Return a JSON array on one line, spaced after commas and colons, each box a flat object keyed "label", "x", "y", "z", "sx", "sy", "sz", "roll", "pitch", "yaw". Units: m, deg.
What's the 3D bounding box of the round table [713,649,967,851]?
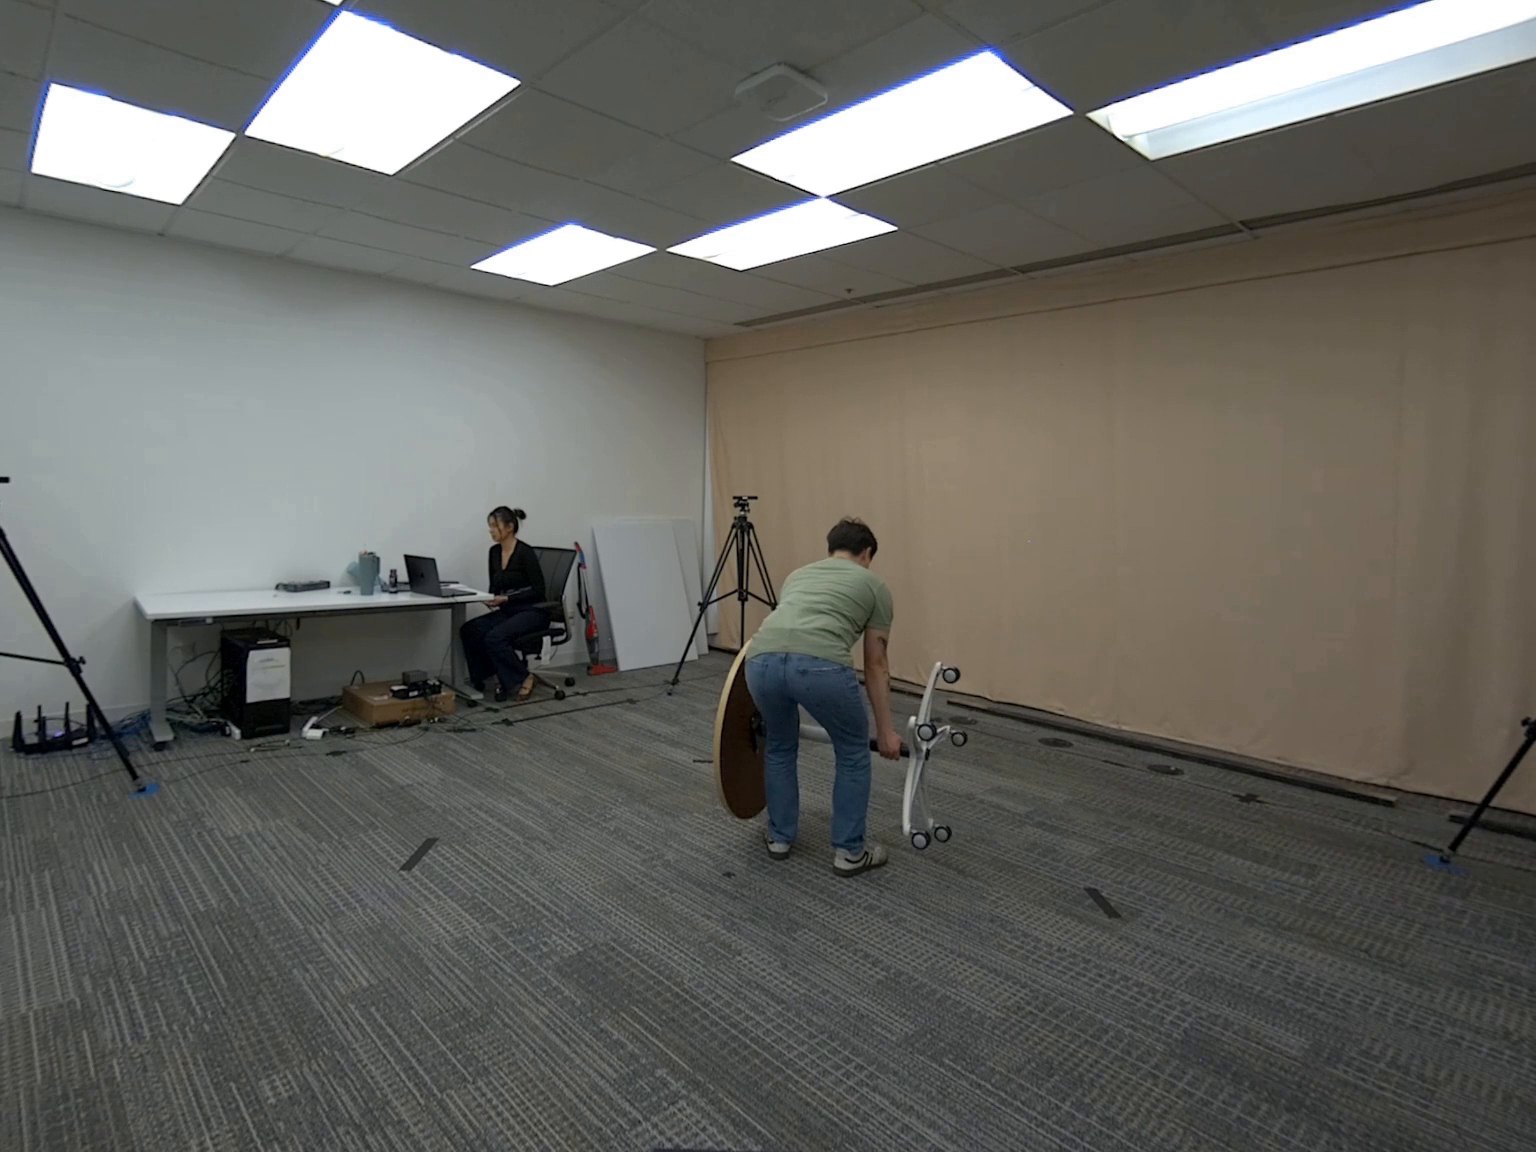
[{"label": "round table", "x": 0.314, "y": 0.653, "z": 3.319, "sx": 0.810, "sy": 0.761, "sz": 0.751, "roll": 6, "pitch": 6, "yaw": 26}]
